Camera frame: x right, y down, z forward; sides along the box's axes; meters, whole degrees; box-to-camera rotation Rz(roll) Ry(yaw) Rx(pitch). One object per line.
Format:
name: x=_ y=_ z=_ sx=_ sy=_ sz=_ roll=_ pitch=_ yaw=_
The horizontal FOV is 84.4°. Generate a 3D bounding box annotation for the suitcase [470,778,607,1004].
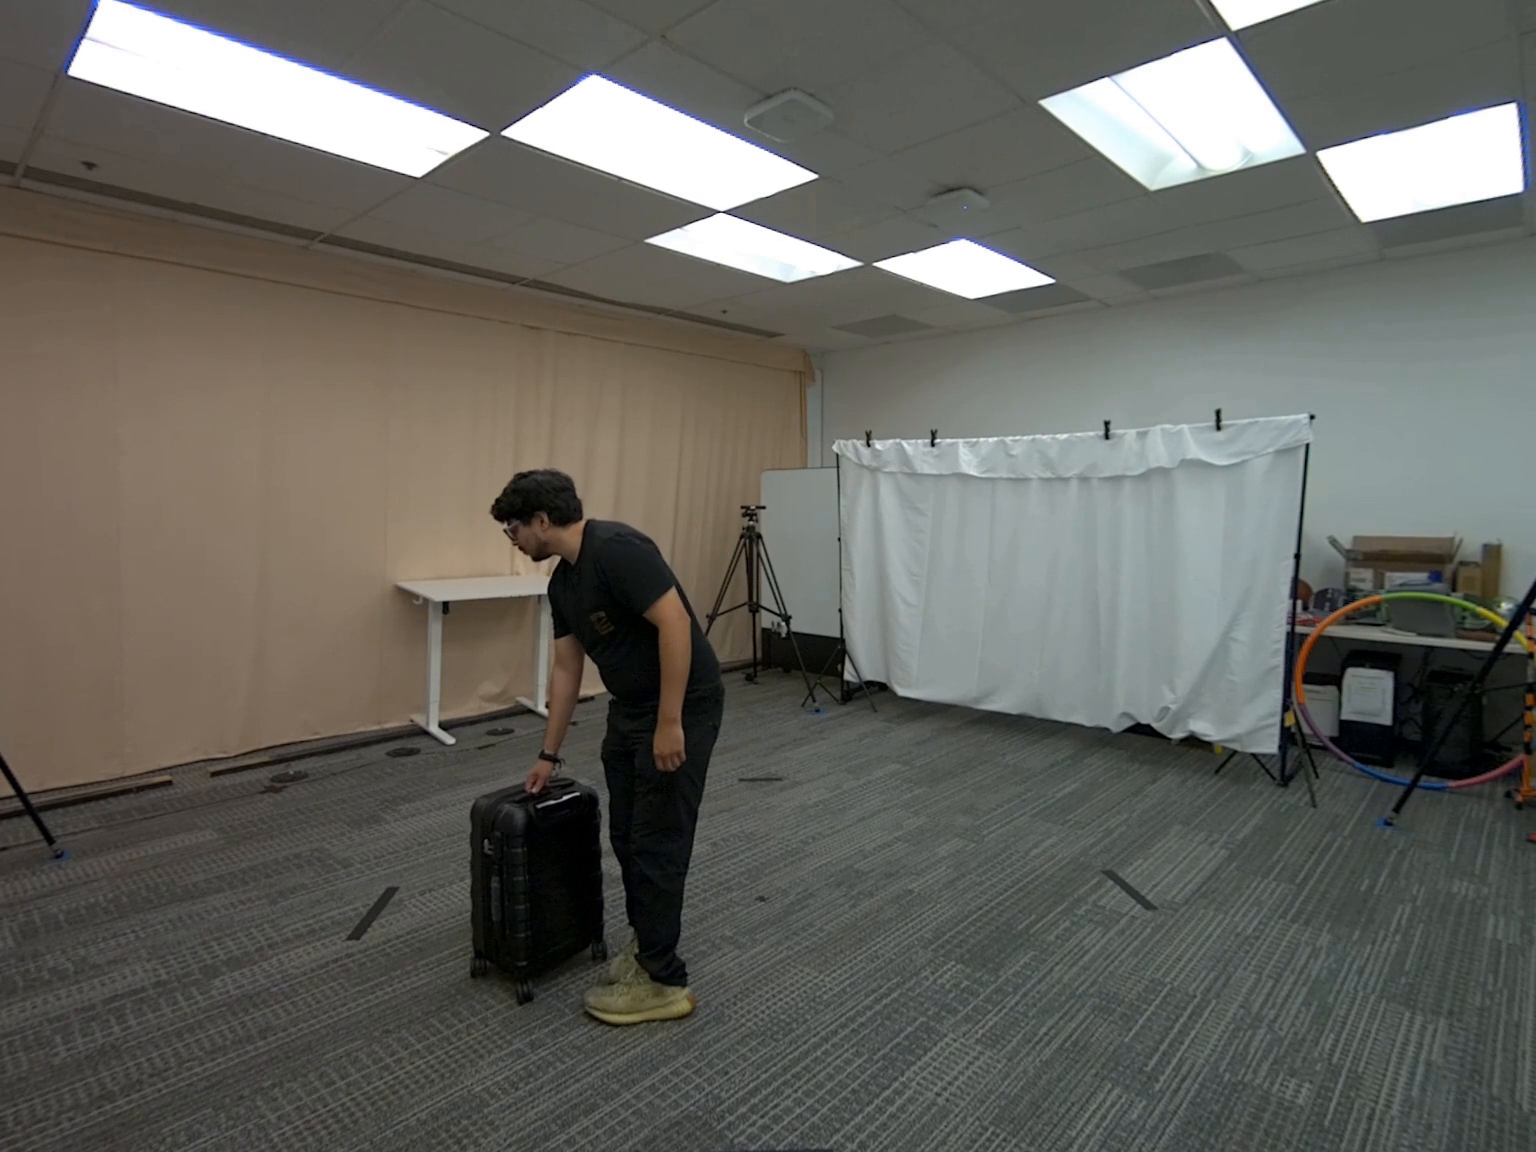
suitcase: x=-0.701 y=0.912 z=2.560 sx=0.256 sy=0.549 sz=0.364 roll=-1 pitch=1 yaw=38
